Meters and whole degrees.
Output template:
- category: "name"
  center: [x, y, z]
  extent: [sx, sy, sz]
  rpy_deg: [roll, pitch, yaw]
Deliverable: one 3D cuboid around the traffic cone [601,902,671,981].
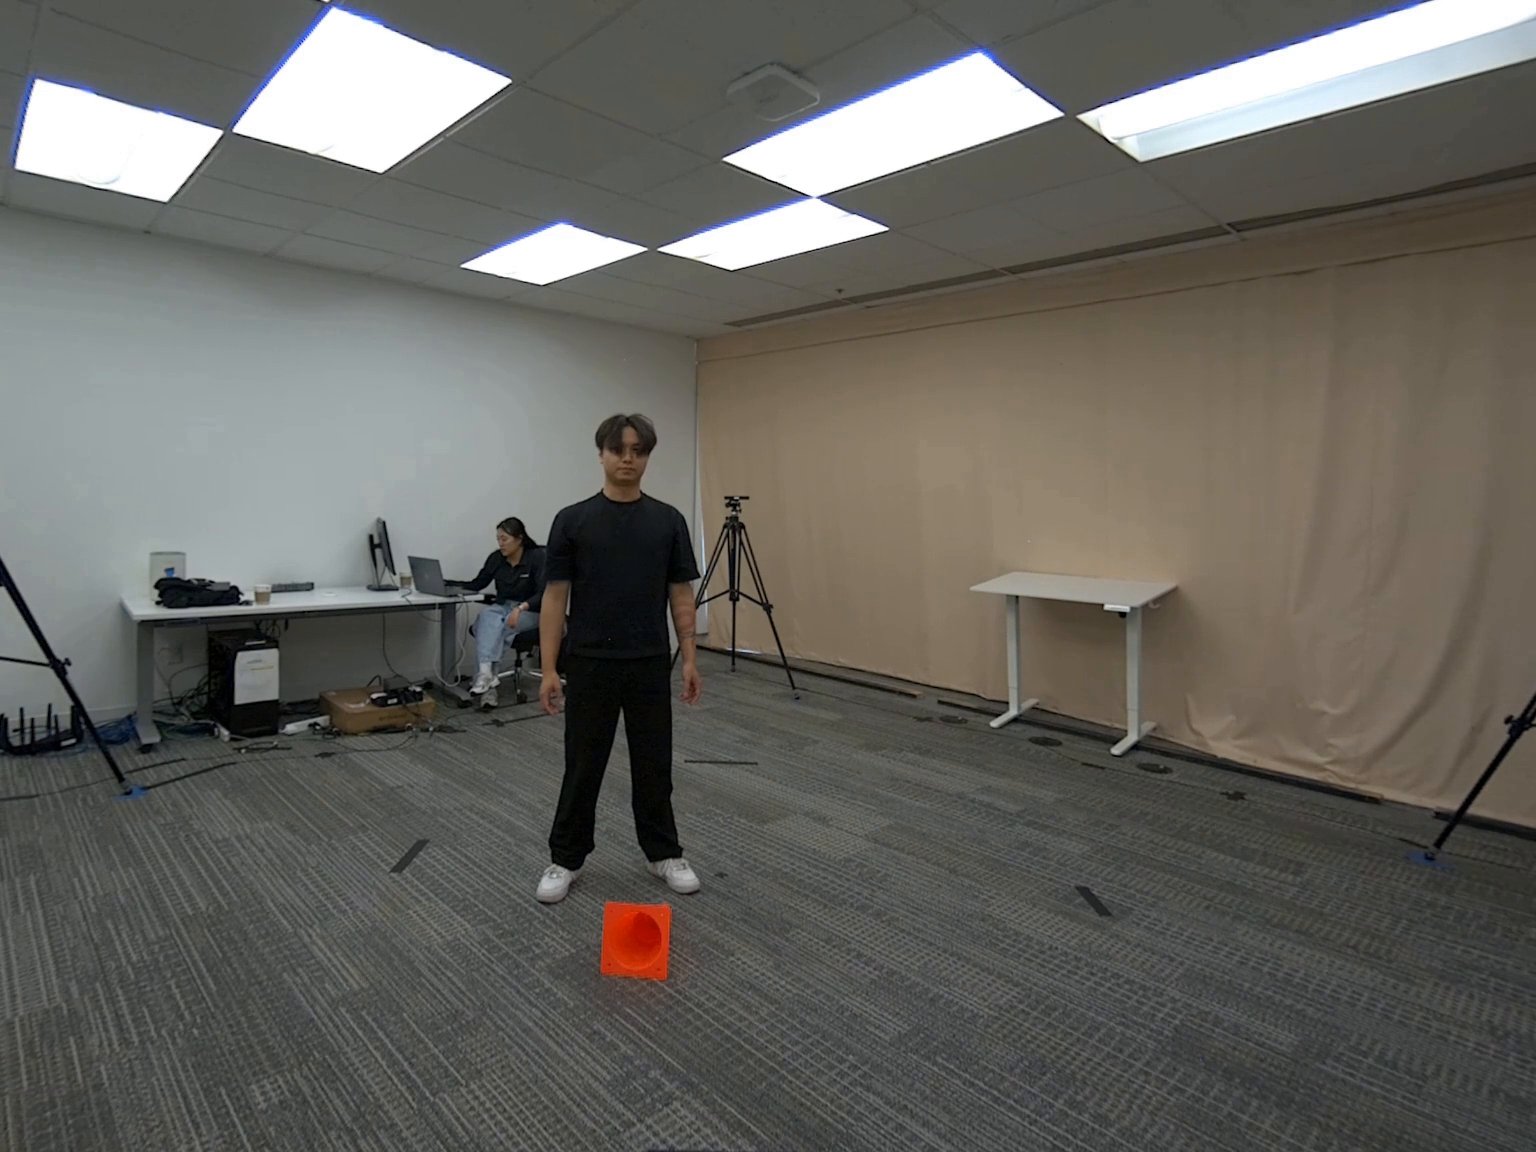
- category: "traffic cone"
  center: [-0.384, 1.103, 2.633]
  extent: [0.206, 0.205, 0.379]
  rpy_deg: [1, -12, 4]
